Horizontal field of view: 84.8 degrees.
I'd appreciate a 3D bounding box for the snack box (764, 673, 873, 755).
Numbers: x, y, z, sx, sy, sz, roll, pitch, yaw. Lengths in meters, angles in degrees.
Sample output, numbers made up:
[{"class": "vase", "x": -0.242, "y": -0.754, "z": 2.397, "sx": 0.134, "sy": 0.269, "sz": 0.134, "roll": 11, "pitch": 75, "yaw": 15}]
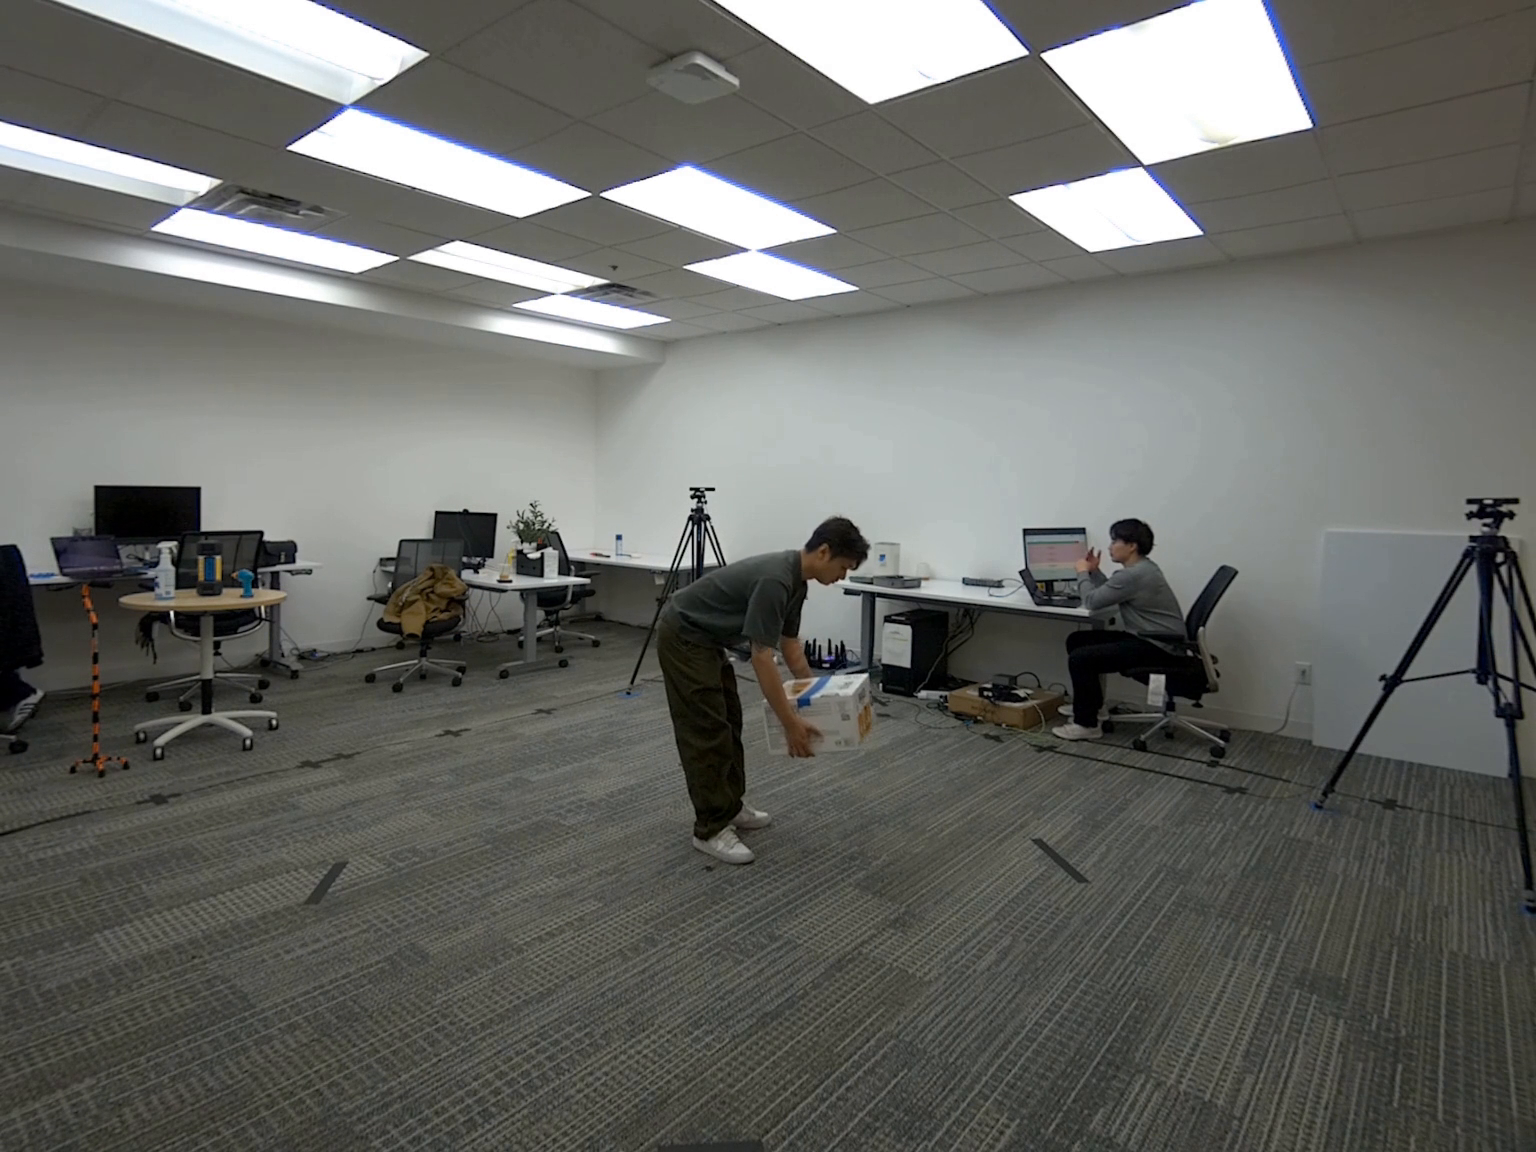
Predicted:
[{"class": "snack box", "x": 0.196, "y": 0.528, "z": 3.279, "sx": 0.346, "sy": 0.205, "sz": 0.399, "roll": -9, "pitch": 2, "yaw": 17}]
